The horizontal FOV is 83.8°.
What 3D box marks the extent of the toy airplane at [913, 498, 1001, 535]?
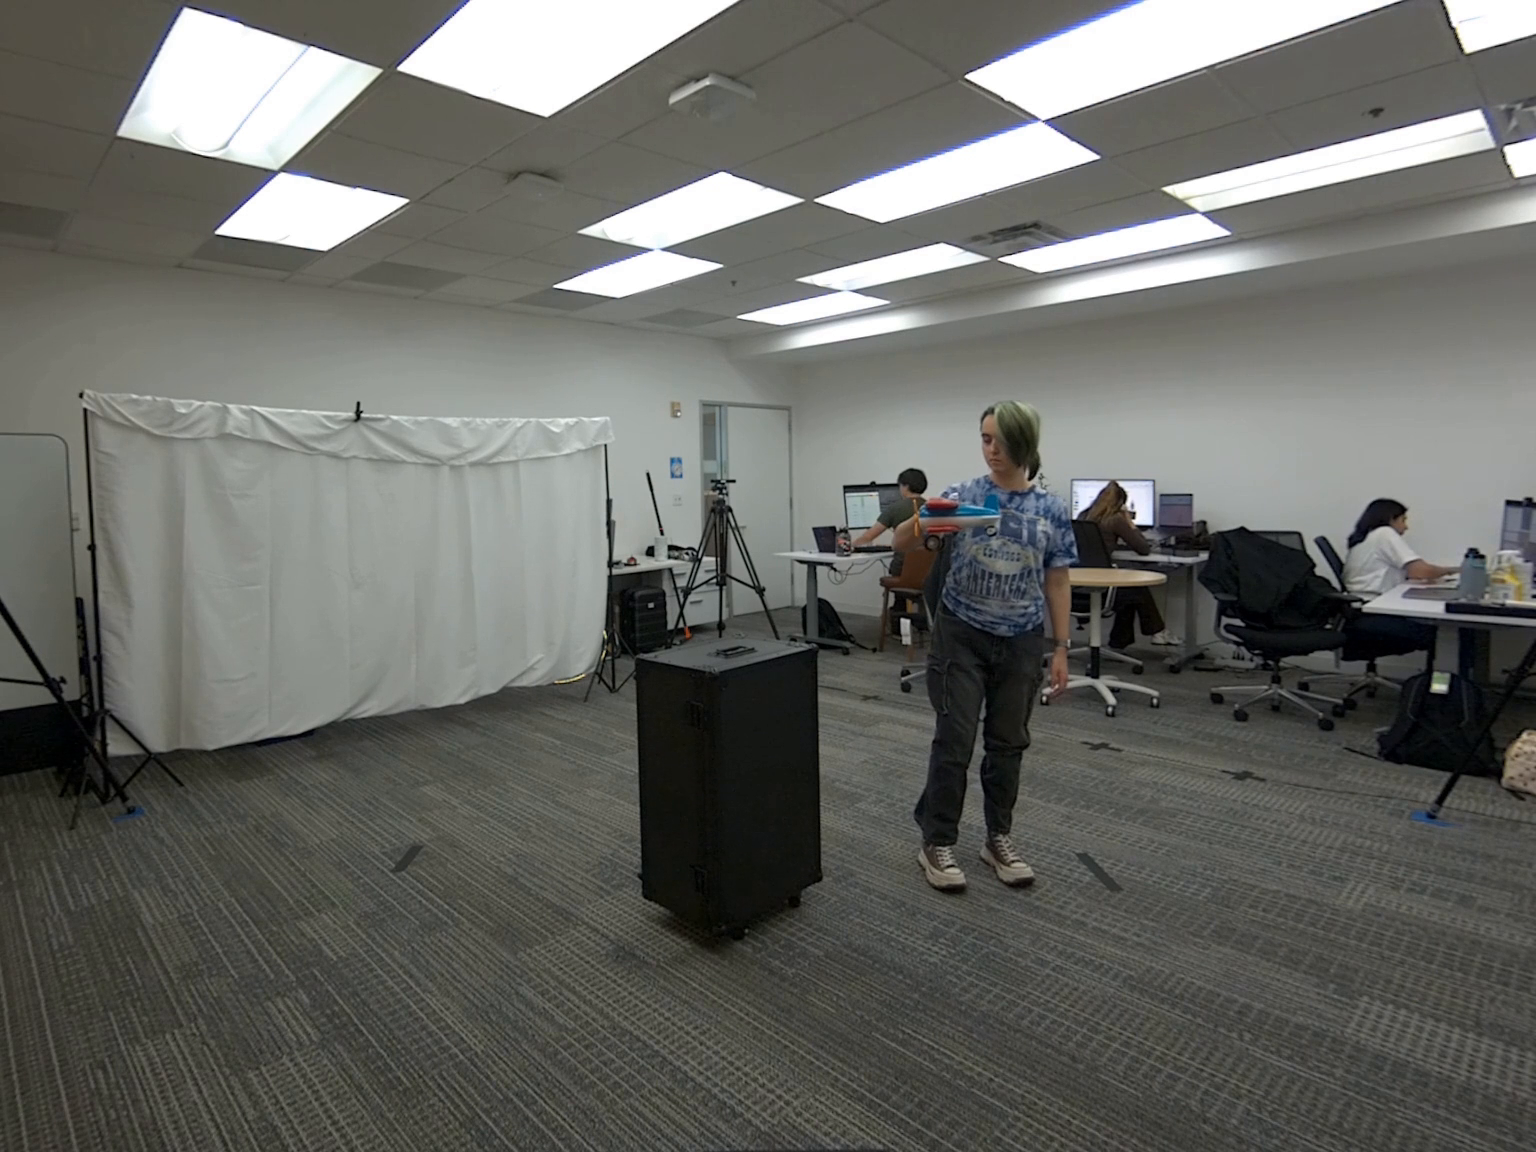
[{"bbox_3d":[0.597,-0.173,2.678,0.258,0.157,0.251,-14,-4,-8],"label":"toy airplane"}]
